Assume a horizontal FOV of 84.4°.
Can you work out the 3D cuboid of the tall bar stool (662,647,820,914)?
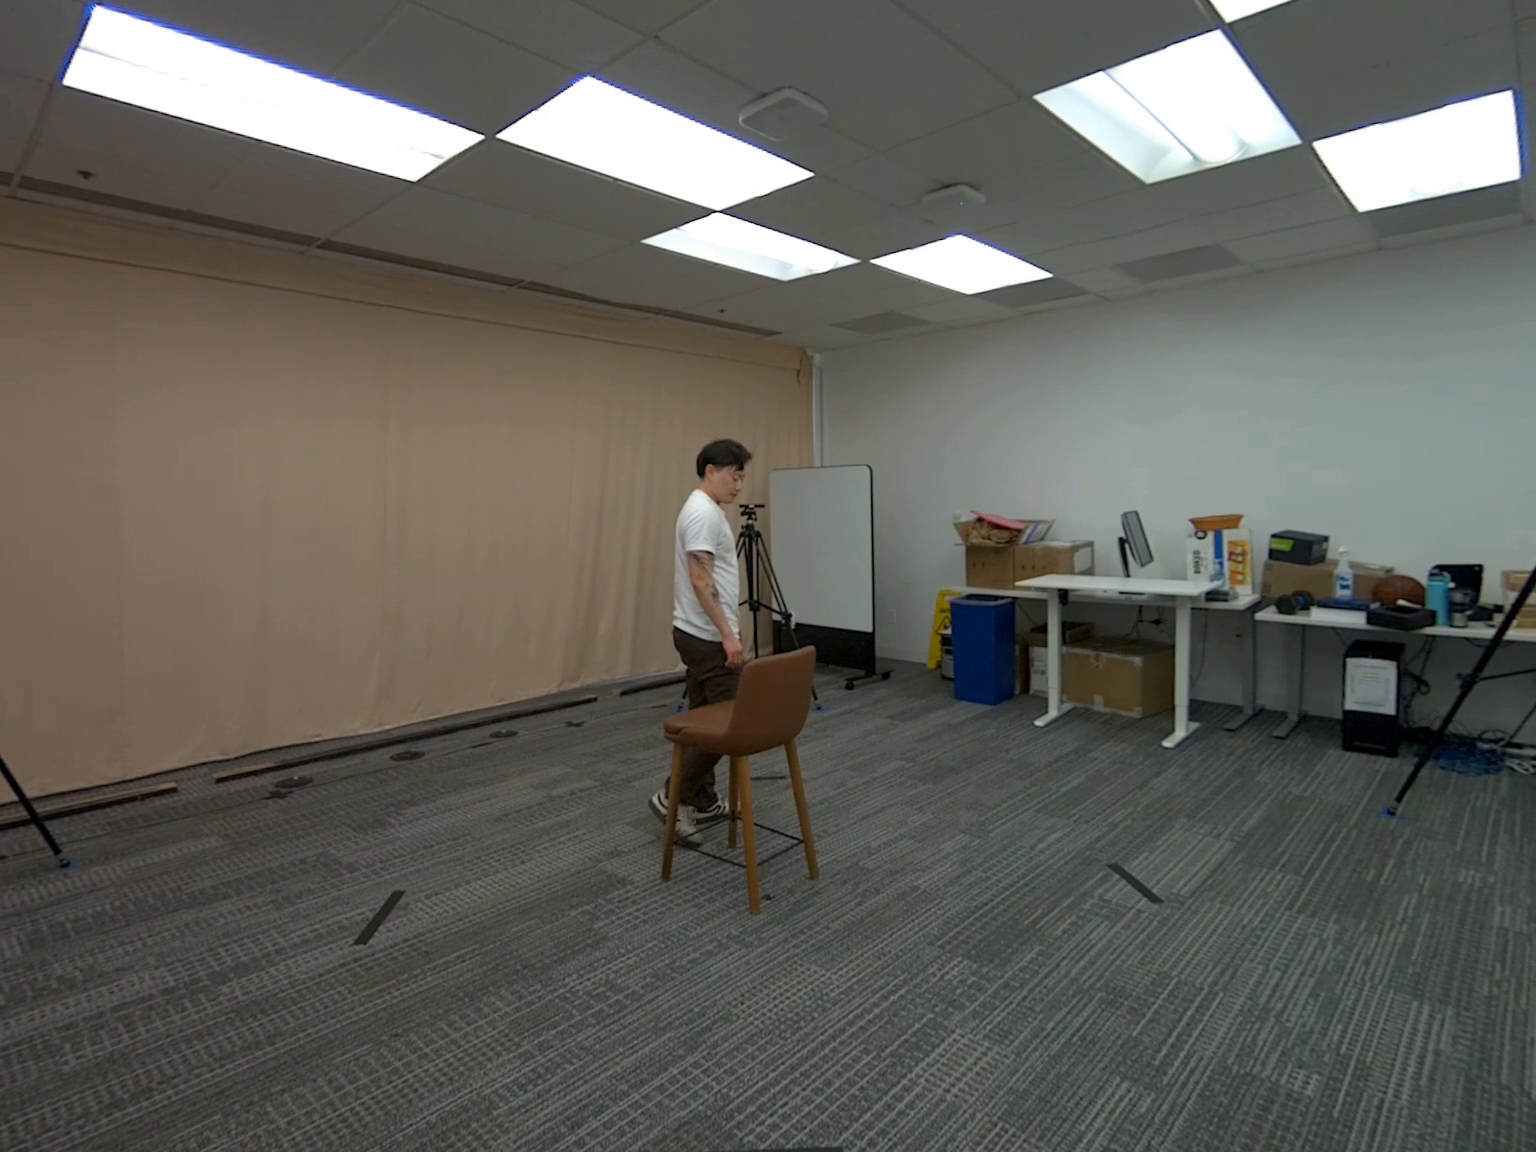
[{"bbox_3d":[-0.101,0.696,3.117,0.483,0.887,0.443,4,6,40],"label":"tall bar stool"}]
